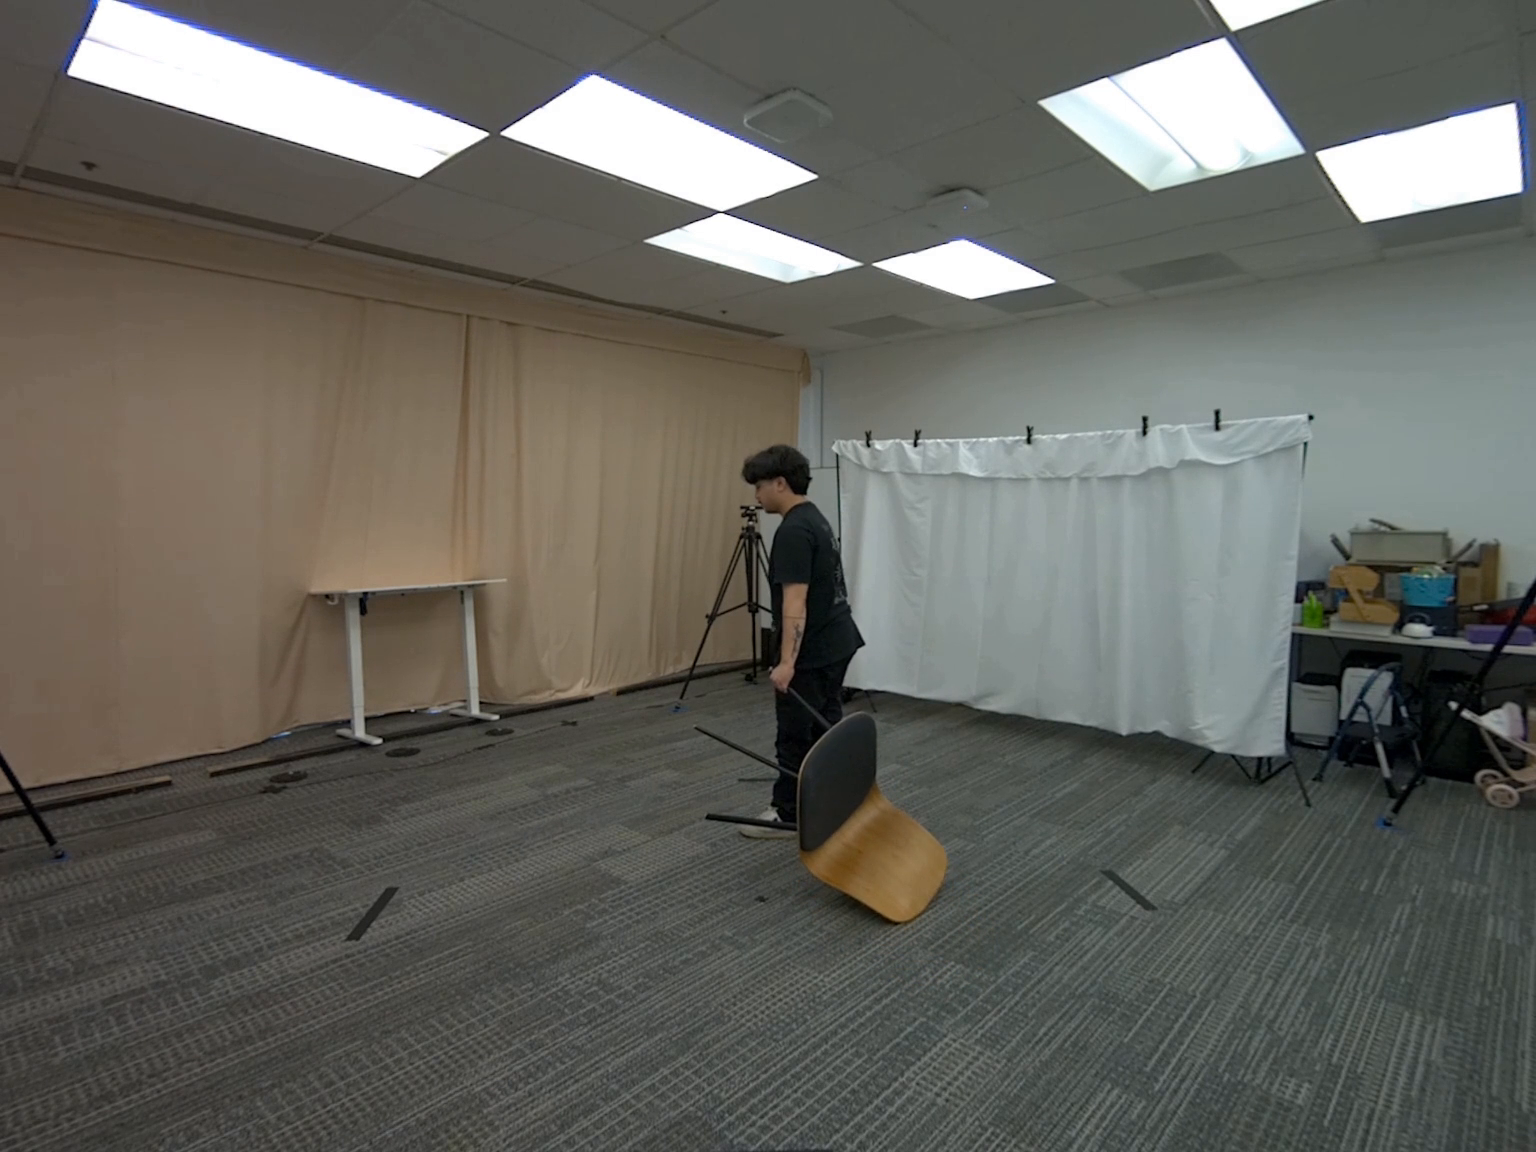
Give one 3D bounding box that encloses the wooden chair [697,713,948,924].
[{"bbox_3d":[0.219,0.765,3.032,0.908,0.514,0.469,24,38,35],"label":"wooden chair"}]
